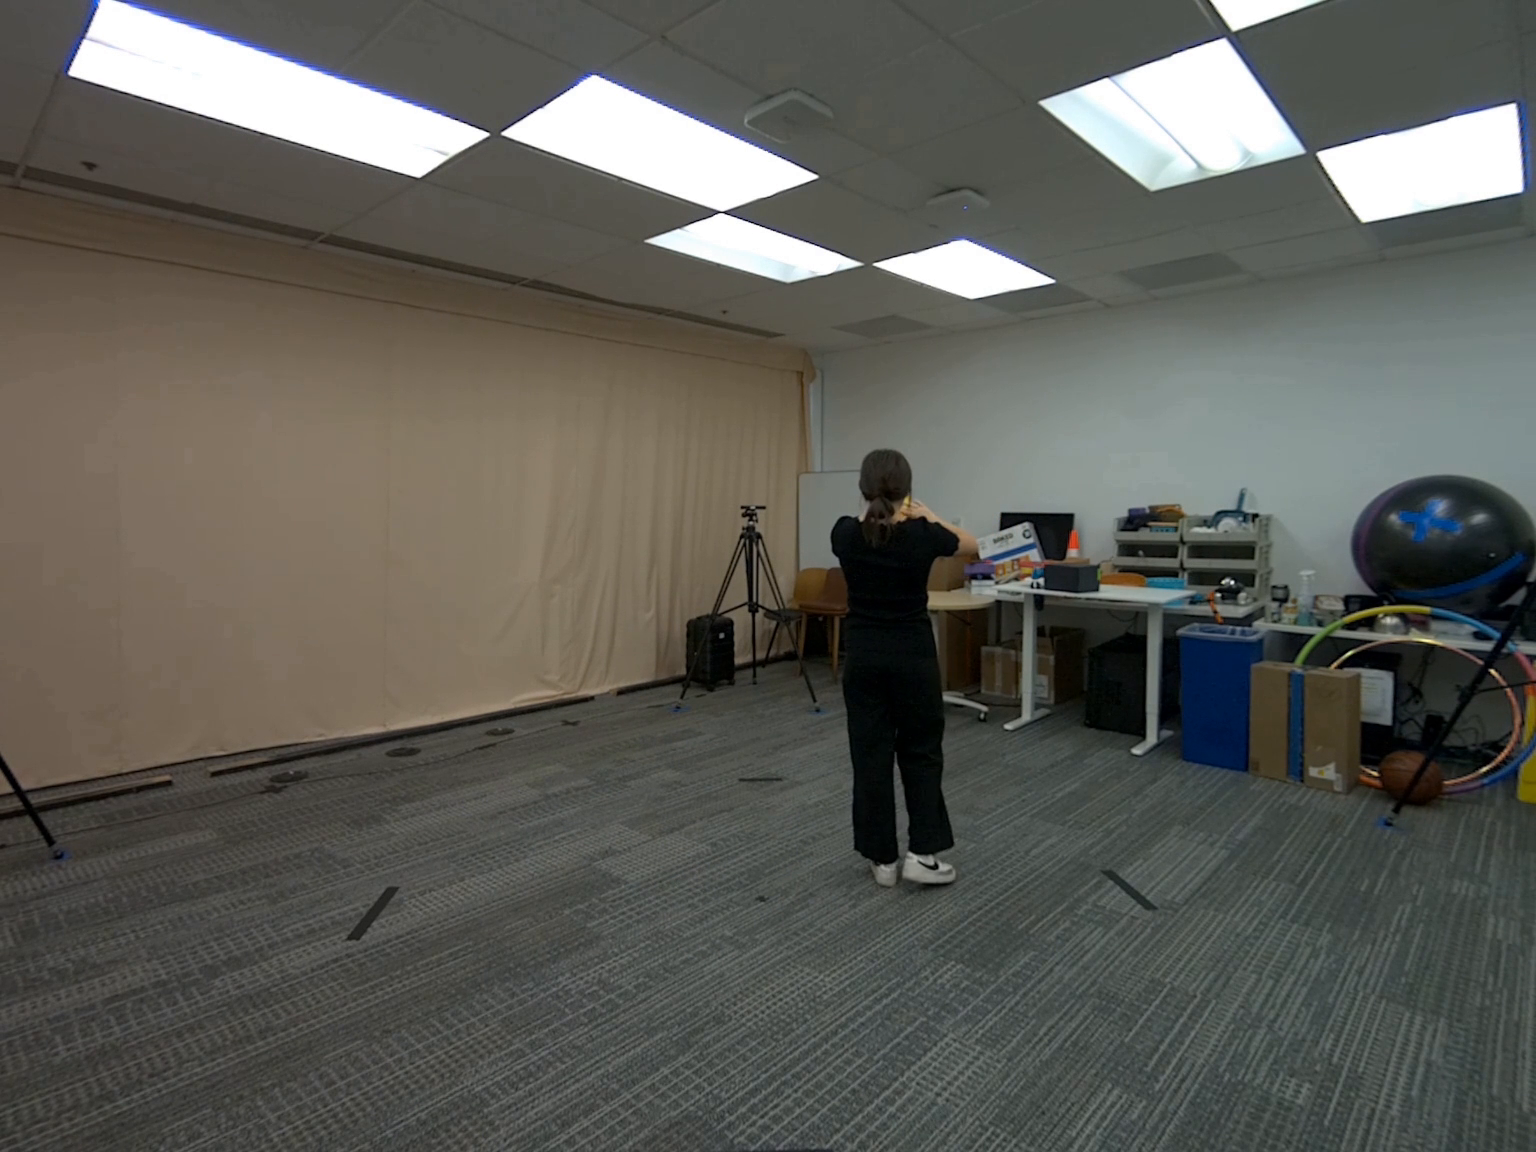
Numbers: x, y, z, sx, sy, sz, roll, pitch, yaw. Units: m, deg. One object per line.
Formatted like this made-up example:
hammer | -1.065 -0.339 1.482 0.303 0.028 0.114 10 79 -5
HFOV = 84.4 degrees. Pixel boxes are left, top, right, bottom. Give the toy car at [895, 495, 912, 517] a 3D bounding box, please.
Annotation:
toy car | 0.559 -0.289 3.488 0.131 0.261 0.081 -16 -40 5
